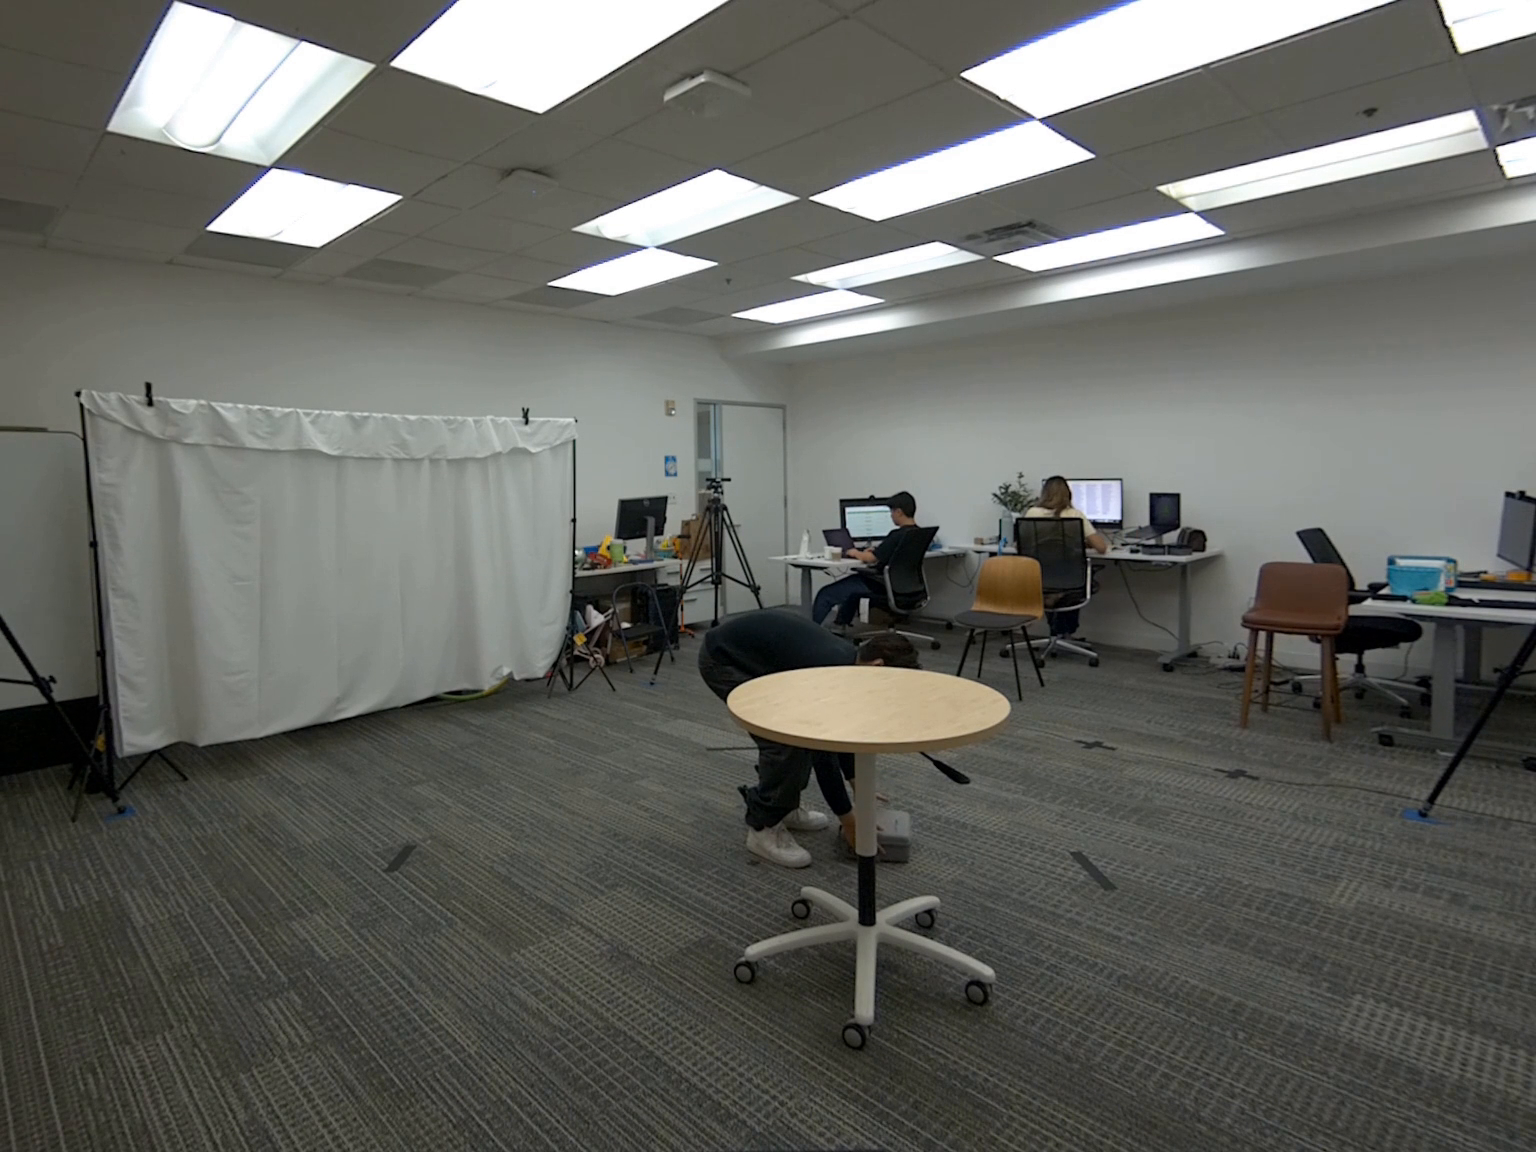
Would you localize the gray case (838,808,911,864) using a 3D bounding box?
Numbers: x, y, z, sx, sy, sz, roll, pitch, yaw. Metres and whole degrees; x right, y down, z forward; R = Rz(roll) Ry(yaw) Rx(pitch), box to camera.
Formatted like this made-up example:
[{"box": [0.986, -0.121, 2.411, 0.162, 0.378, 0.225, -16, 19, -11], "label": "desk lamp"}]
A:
[{"box": [0.402, 0.956, 3.203, 0.264, 0.104, 0.255, 2, 6, 12], "label": "gray case"}]
